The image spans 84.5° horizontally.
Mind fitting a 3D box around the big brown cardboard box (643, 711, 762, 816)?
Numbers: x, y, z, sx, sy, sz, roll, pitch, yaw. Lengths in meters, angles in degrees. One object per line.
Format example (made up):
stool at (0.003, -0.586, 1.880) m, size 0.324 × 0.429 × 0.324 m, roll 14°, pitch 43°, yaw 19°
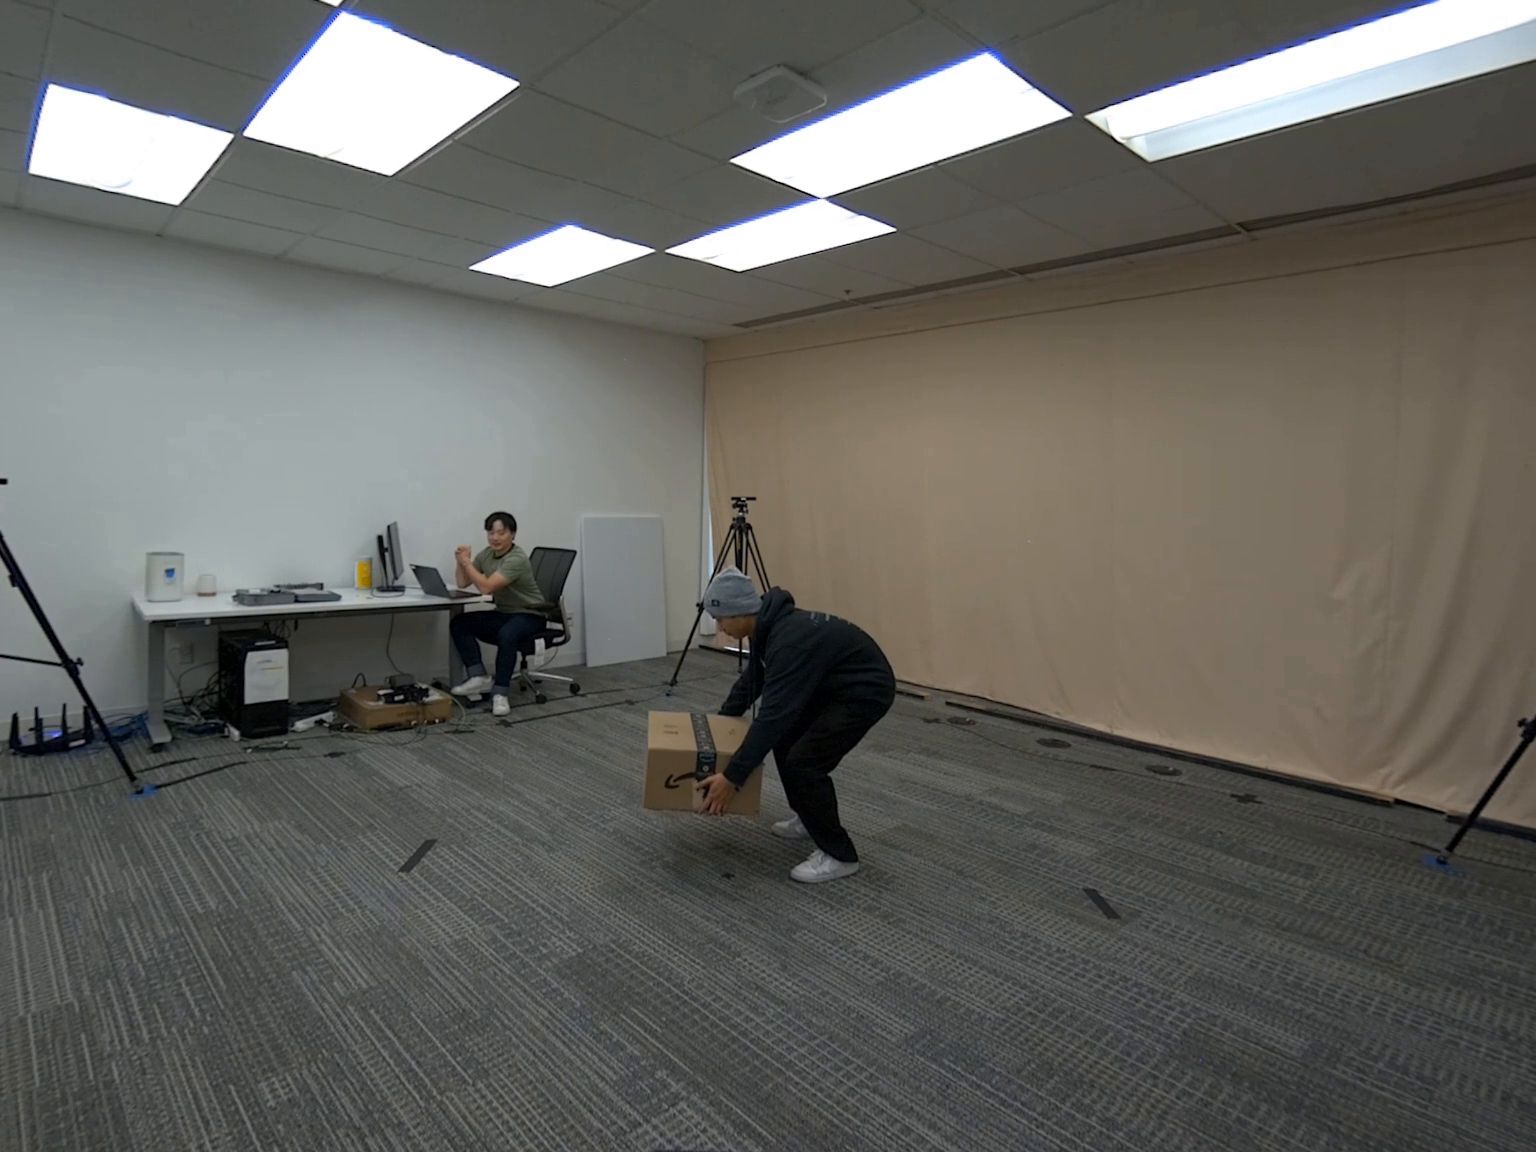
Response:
big brown cardboard box at (-0.269, 0.710, 3.249) m, size 0.415 × 0.233 × 0.592 m, roll 5°, pitch 2°, yaw -6°
